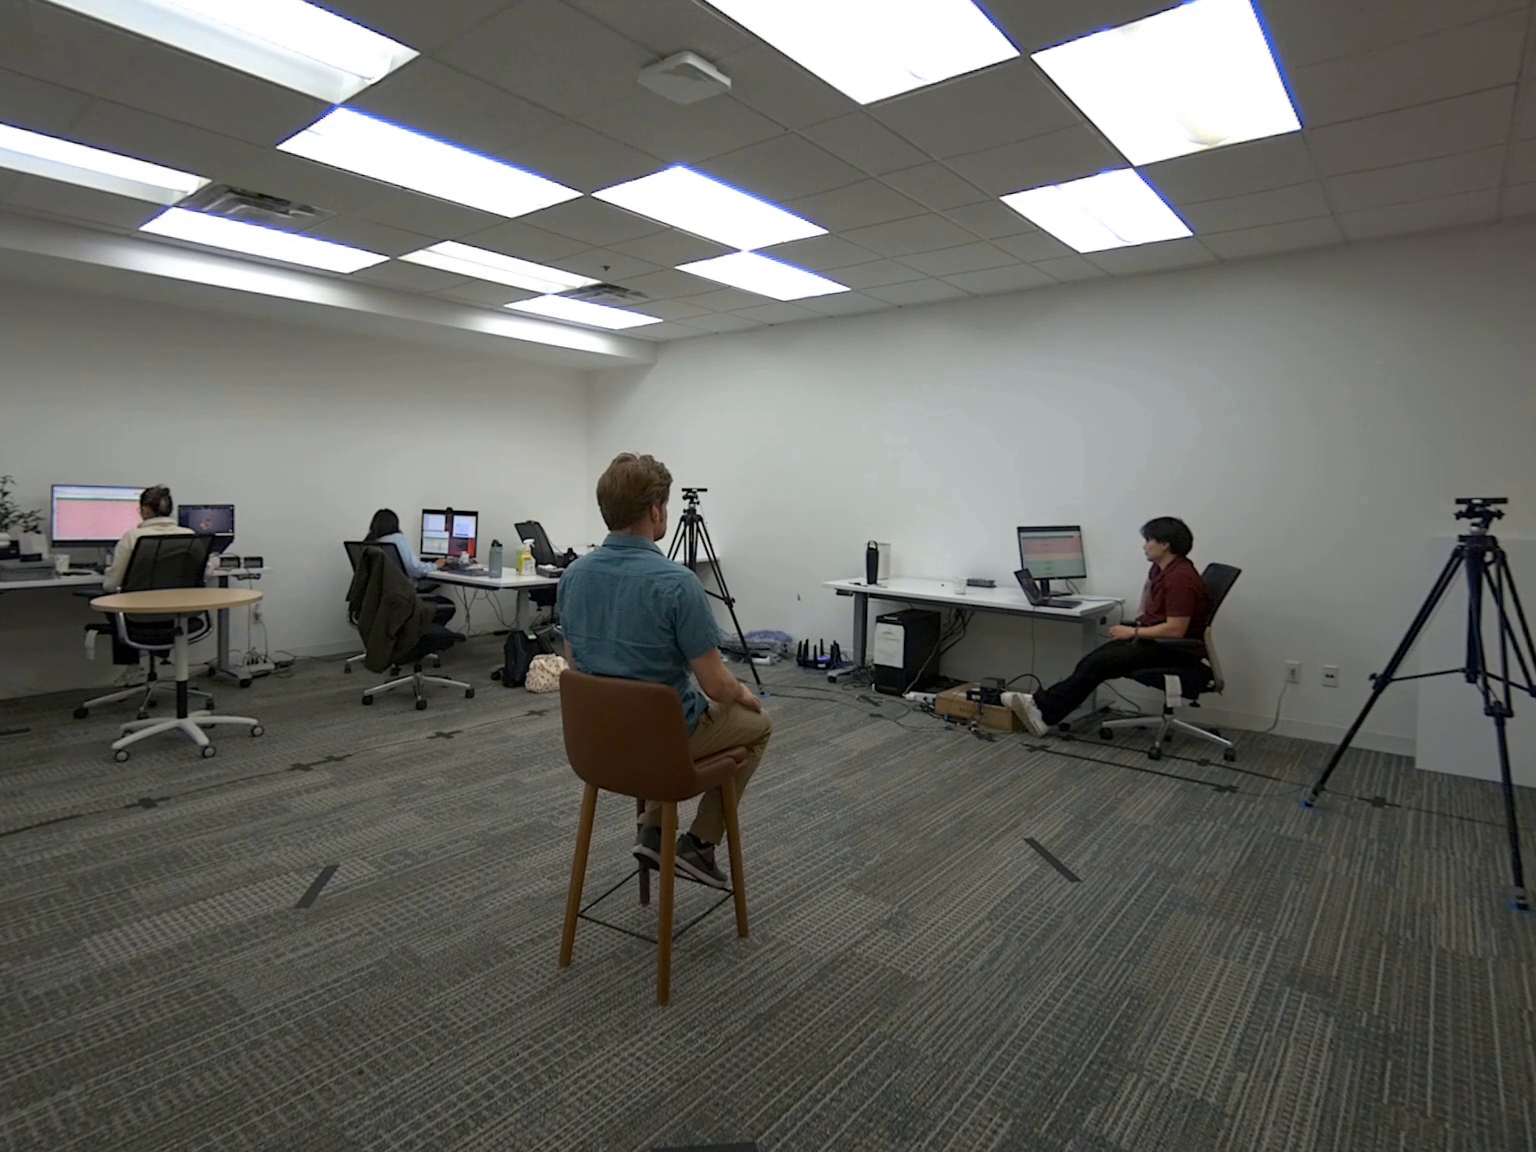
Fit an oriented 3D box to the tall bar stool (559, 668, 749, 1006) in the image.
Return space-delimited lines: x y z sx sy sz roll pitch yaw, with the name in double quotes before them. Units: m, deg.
"tall bar stool" -0.351 0.687 2.536 0.470 0.886 0.456 2 6 30
